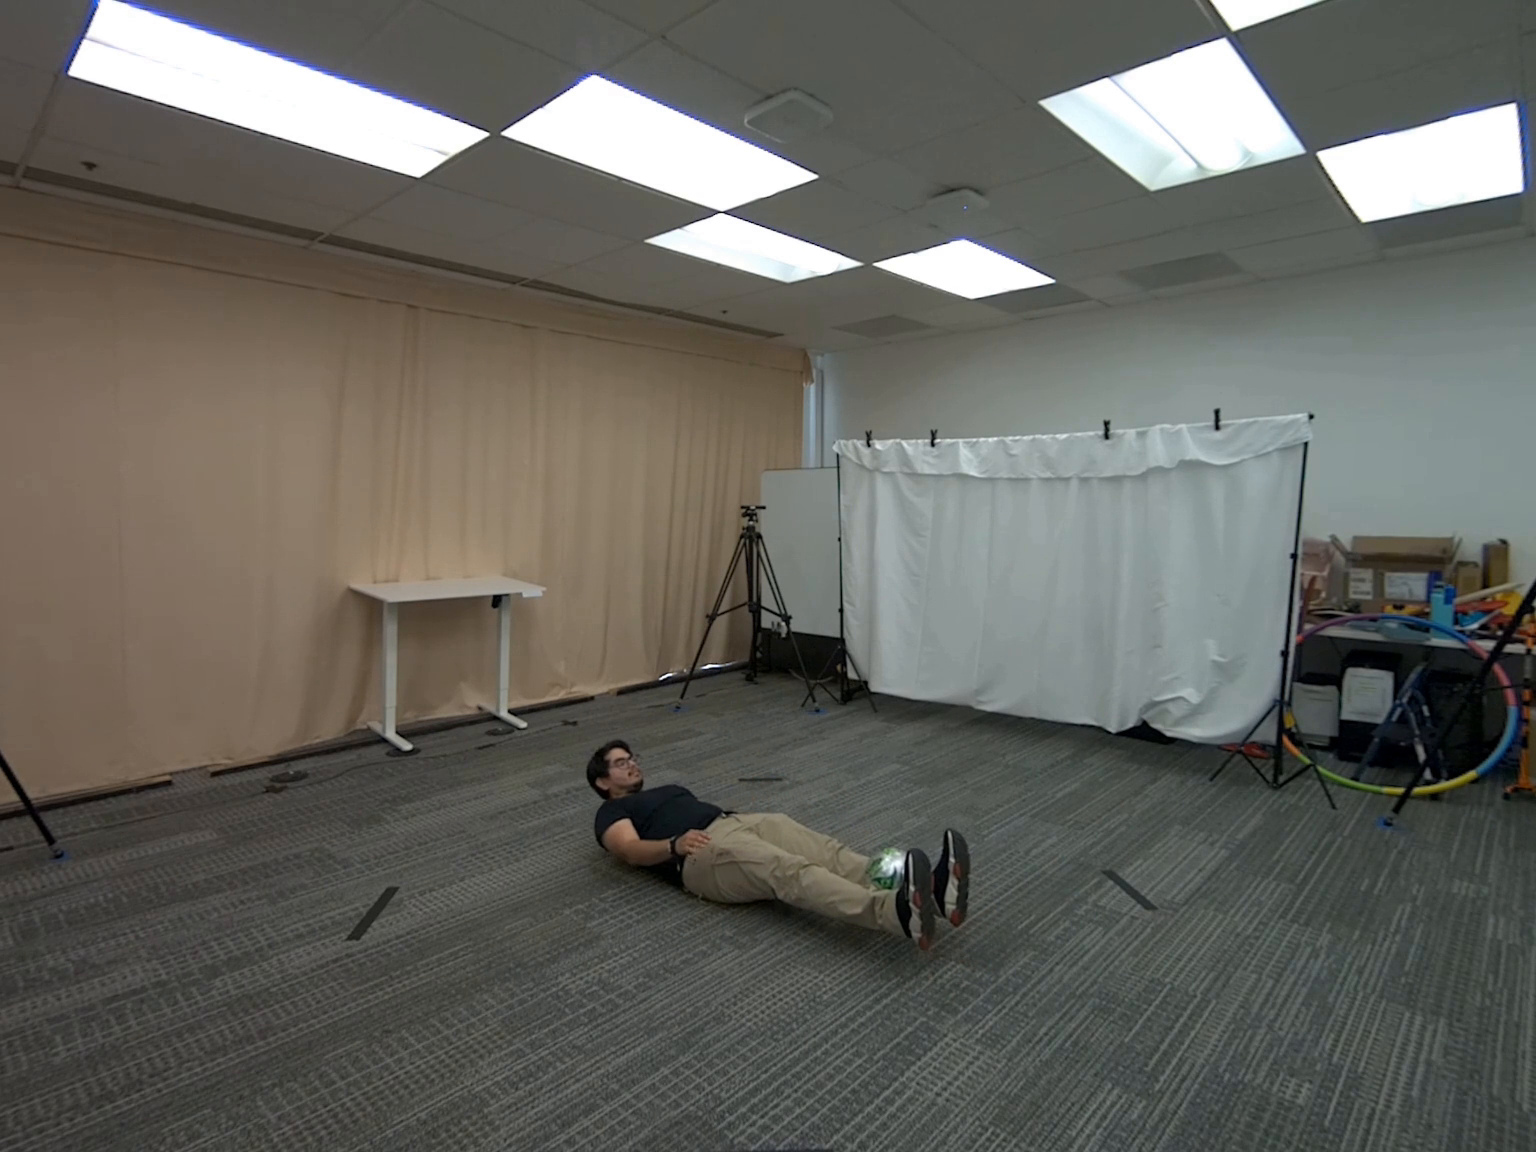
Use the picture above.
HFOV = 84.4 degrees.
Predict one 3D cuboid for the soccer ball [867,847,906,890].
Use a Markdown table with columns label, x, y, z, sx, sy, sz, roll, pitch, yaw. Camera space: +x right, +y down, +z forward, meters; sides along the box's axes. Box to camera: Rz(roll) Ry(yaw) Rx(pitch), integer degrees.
| label | x | y | z | sx | sy | sz | roll | pitch | yaw |
| --- | --- | --- | --- | --- | --- | --- | --- | --- | --- |
| soccer ball | 0.412 | 0.974 | 2.654 | 0.187 | 0.187 | 0.188 | 0 | 4 | -2 |
